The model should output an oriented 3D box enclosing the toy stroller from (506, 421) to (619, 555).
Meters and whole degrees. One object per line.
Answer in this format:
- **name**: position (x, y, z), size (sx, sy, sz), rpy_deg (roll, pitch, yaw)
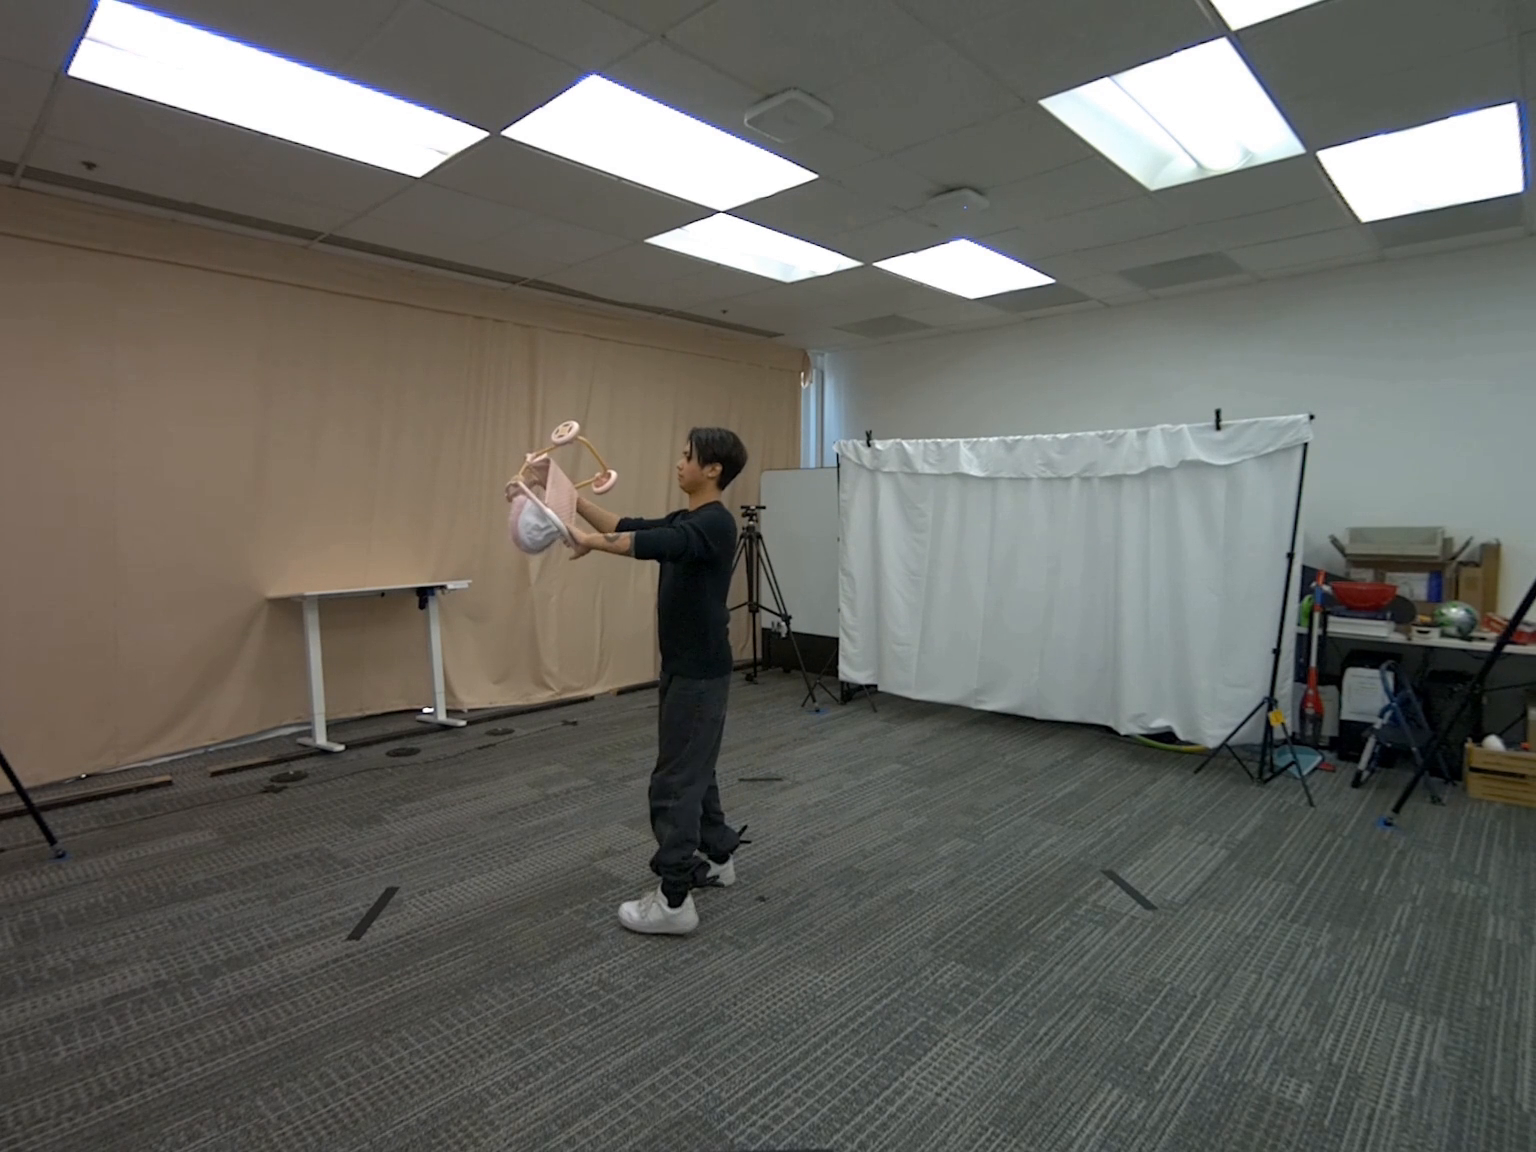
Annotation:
- **toy stroller**: position (-0.759, -0.286, 2.937), size (0.348, 0.542, 0.272), rpy_deg (-9, -43, 21)
